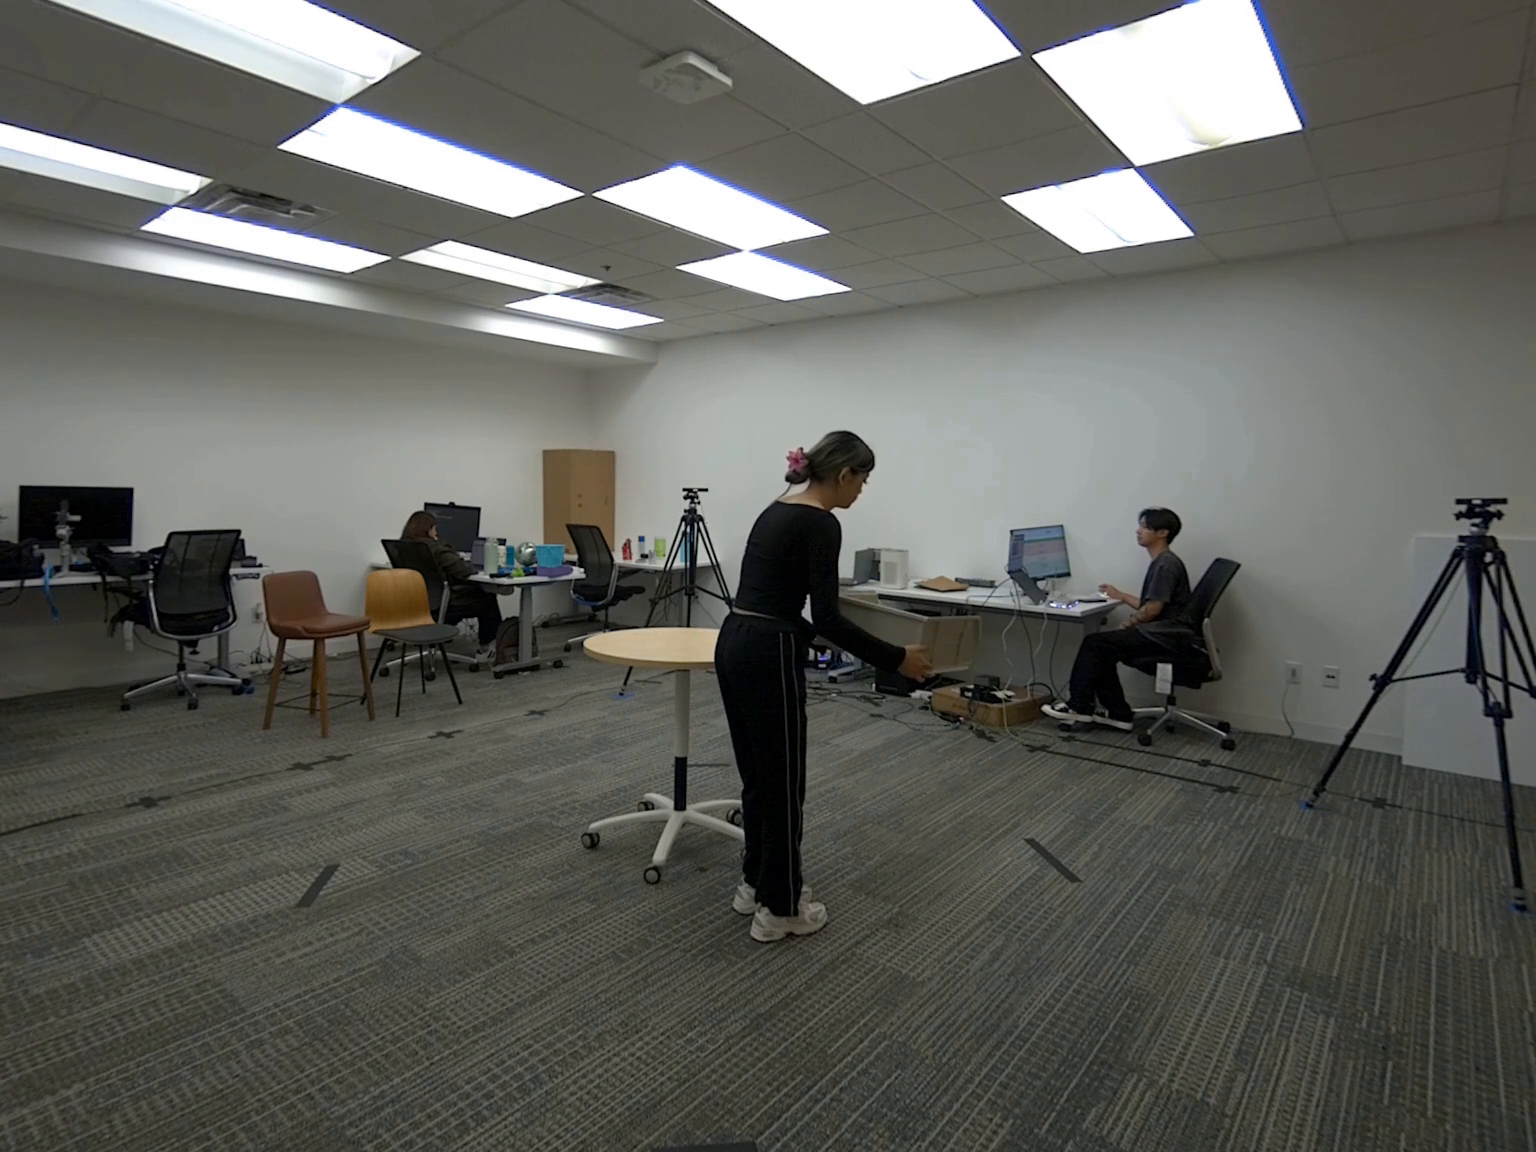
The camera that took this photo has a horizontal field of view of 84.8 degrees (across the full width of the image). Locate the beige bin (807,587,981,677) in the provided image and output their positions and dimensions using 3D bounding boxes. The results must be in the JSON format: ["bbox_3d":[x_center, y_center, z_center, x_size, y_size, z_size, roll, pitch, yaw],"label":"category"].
[{"bbox_3d":[0.421,0.177,2.826,0.438,0.188,0.366,12,9,39],"label":"beige bin"}]
